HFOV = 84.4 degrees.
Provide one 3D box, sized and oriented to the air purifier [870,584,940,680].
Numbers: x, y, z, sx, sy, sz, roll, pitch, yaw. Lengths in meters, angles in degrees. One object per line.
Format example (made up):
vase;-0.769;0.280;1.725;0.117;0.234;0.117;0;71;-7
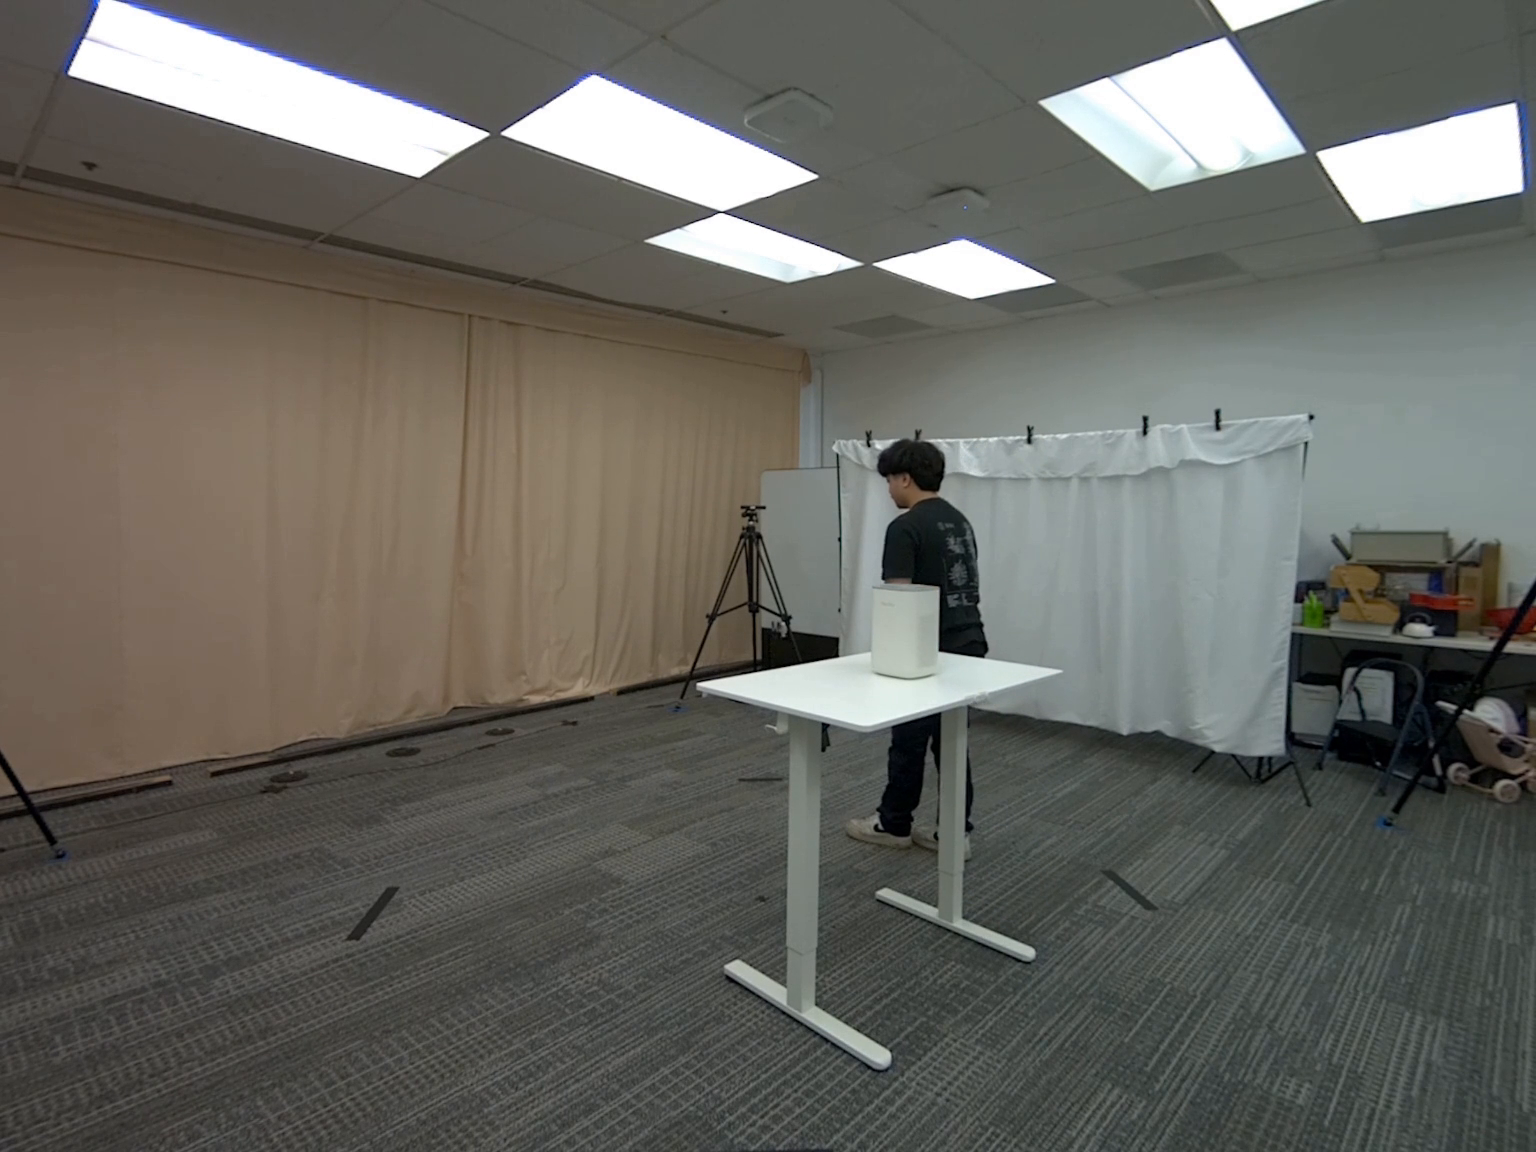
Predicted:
air purifier;0.415;0.164;2.537;0.177;0.265;0.166;4;5;45
